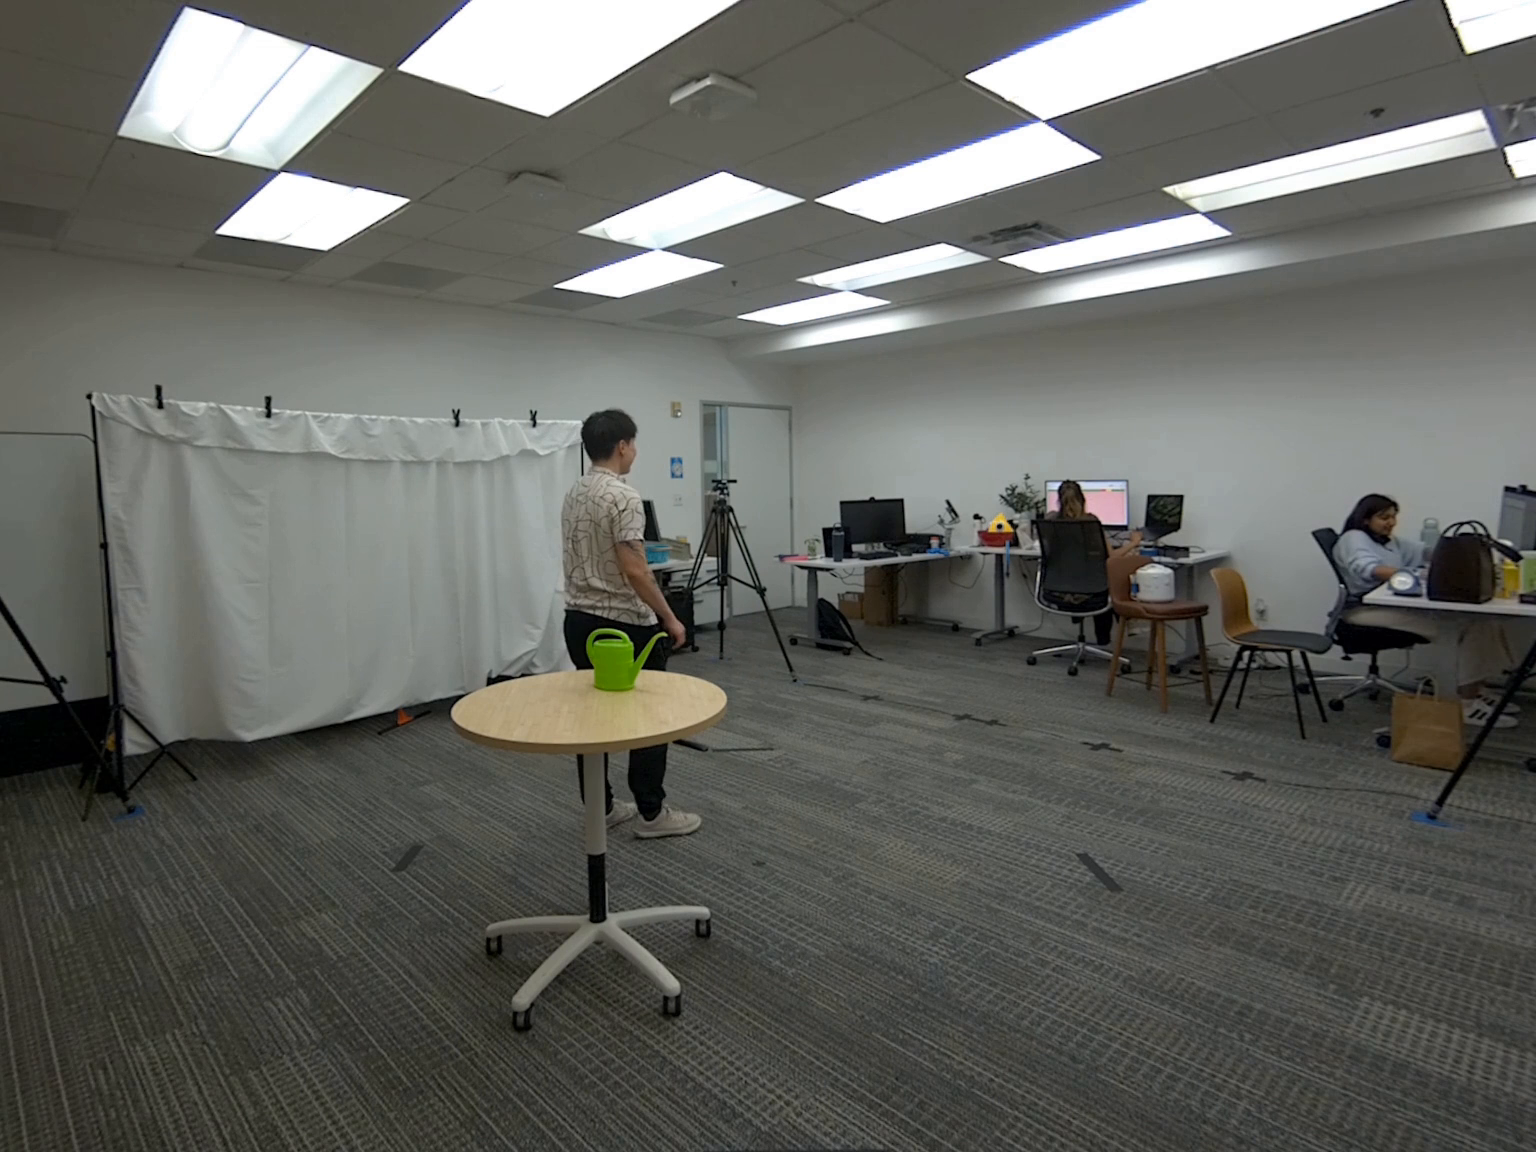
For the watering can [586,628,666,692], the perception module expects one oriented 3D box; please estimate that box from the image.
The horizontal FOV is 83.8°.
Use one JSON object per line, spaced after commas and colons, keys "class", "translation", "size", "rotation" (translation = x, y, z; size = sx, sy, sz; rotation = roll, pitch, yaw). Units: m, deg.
{"class": "watering can", "translation": [-0.432, 0.255, 2.524], "size": [0.286, 0.176, 0.095], "rotation": [1, 5, 38]}
